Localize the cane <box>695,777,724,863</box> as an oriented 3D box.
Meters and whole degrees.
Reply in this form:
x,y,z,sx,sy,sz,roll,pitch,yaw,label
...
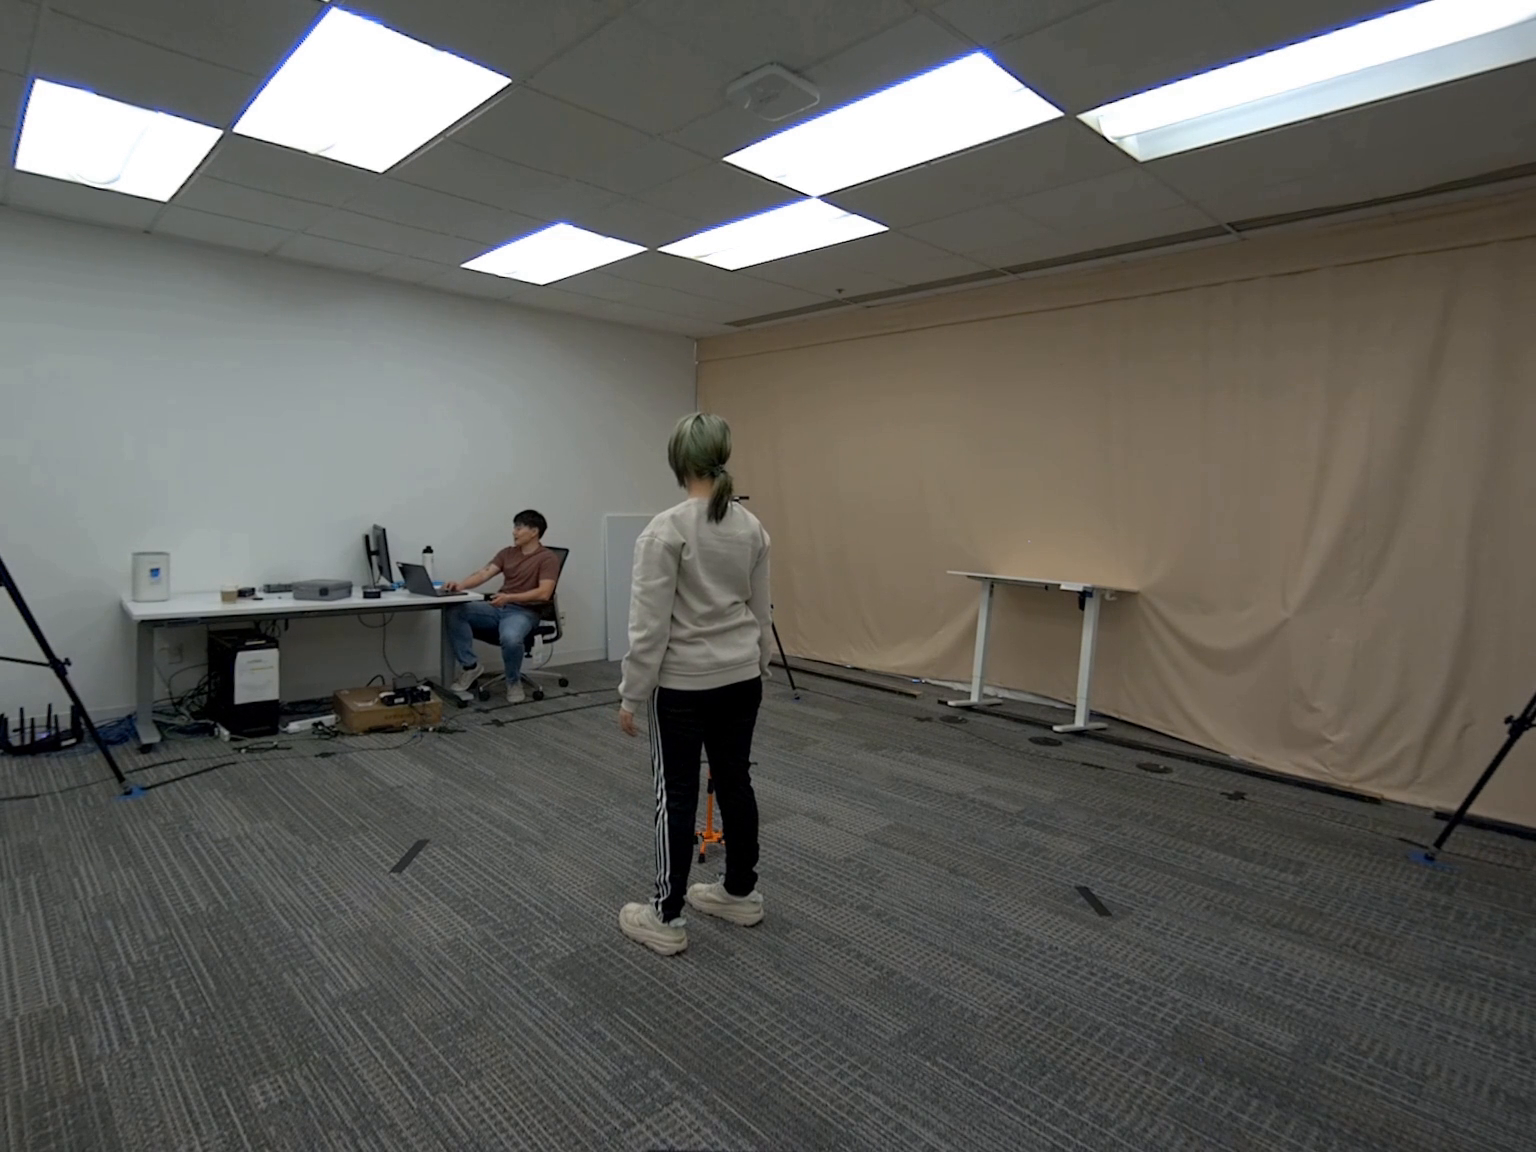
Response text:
x,y,z,sx,sy,sz,roll,pitch,yaw,label
-0.208,0.638,3.288,0.150,0.907,0.208,1,1,-12,cane
